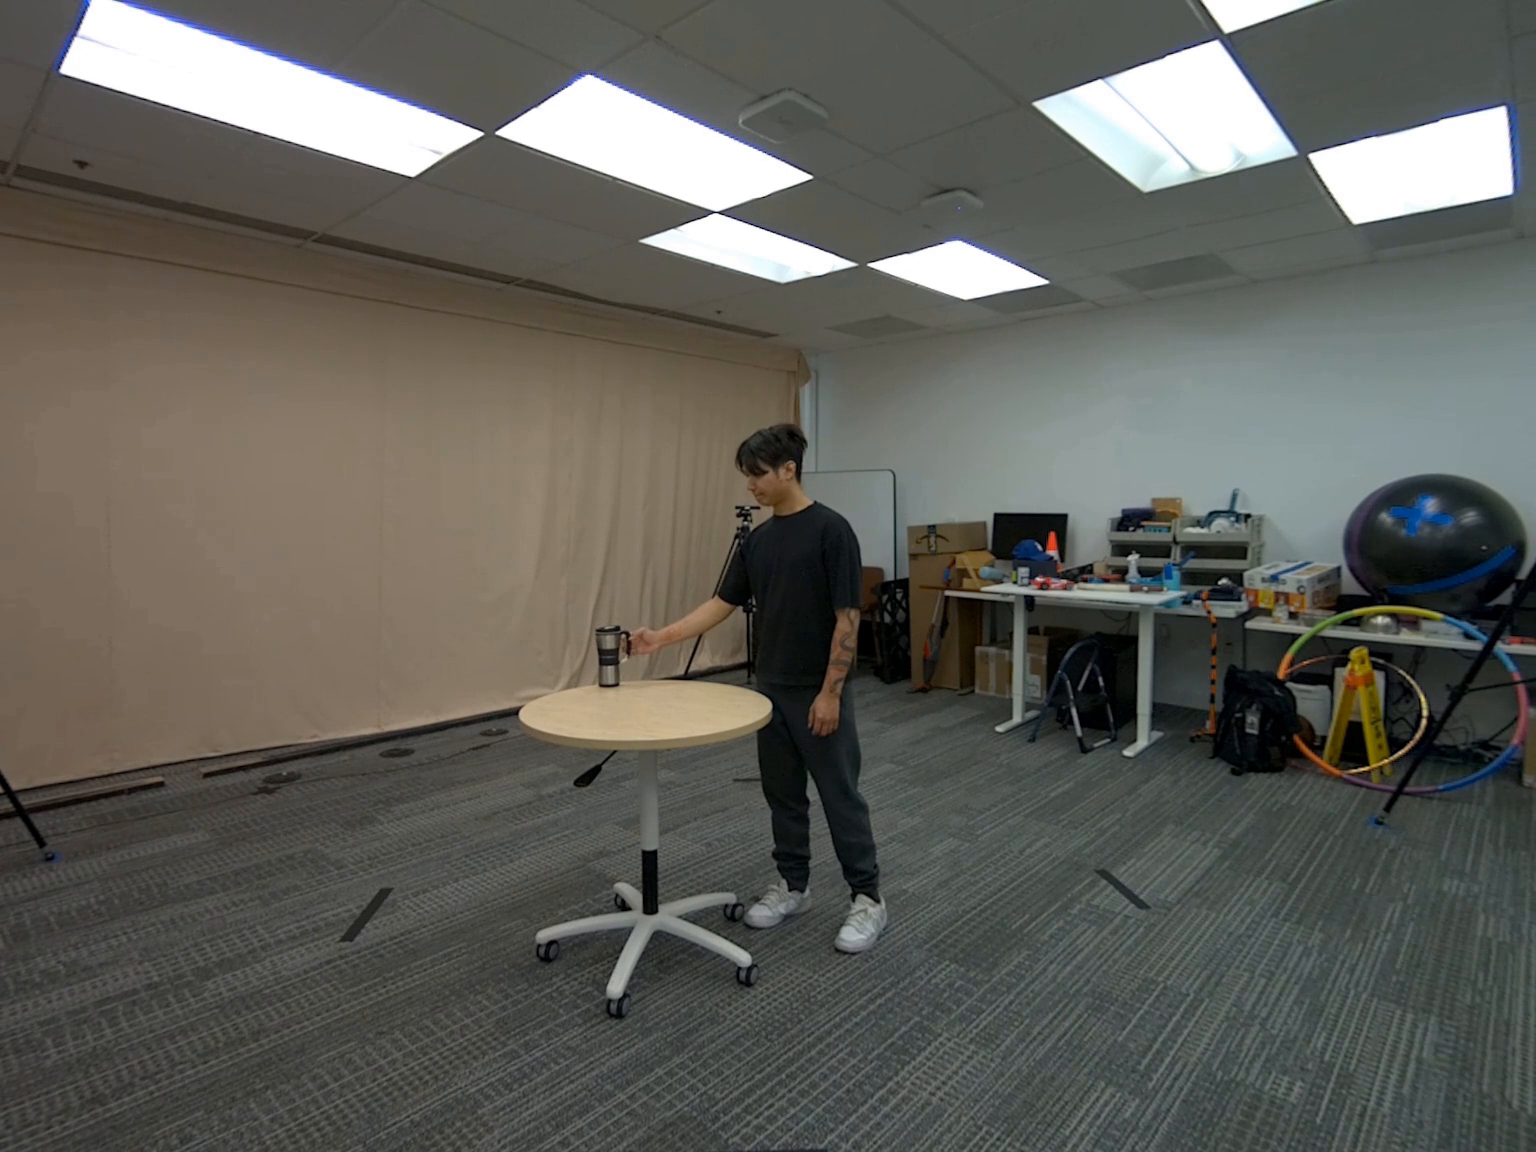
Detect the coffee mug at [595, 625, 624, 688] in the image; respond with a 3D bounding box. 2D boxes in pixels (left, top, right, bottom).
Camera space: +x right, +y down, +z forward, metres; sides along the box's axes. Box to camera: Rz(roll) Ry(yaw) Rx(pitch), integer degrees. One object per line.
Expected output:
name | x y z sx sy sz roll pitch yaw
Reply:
coffee mug | -0.528 0.279 2.861 0.126 0.203 0.085 -1 -1 37
